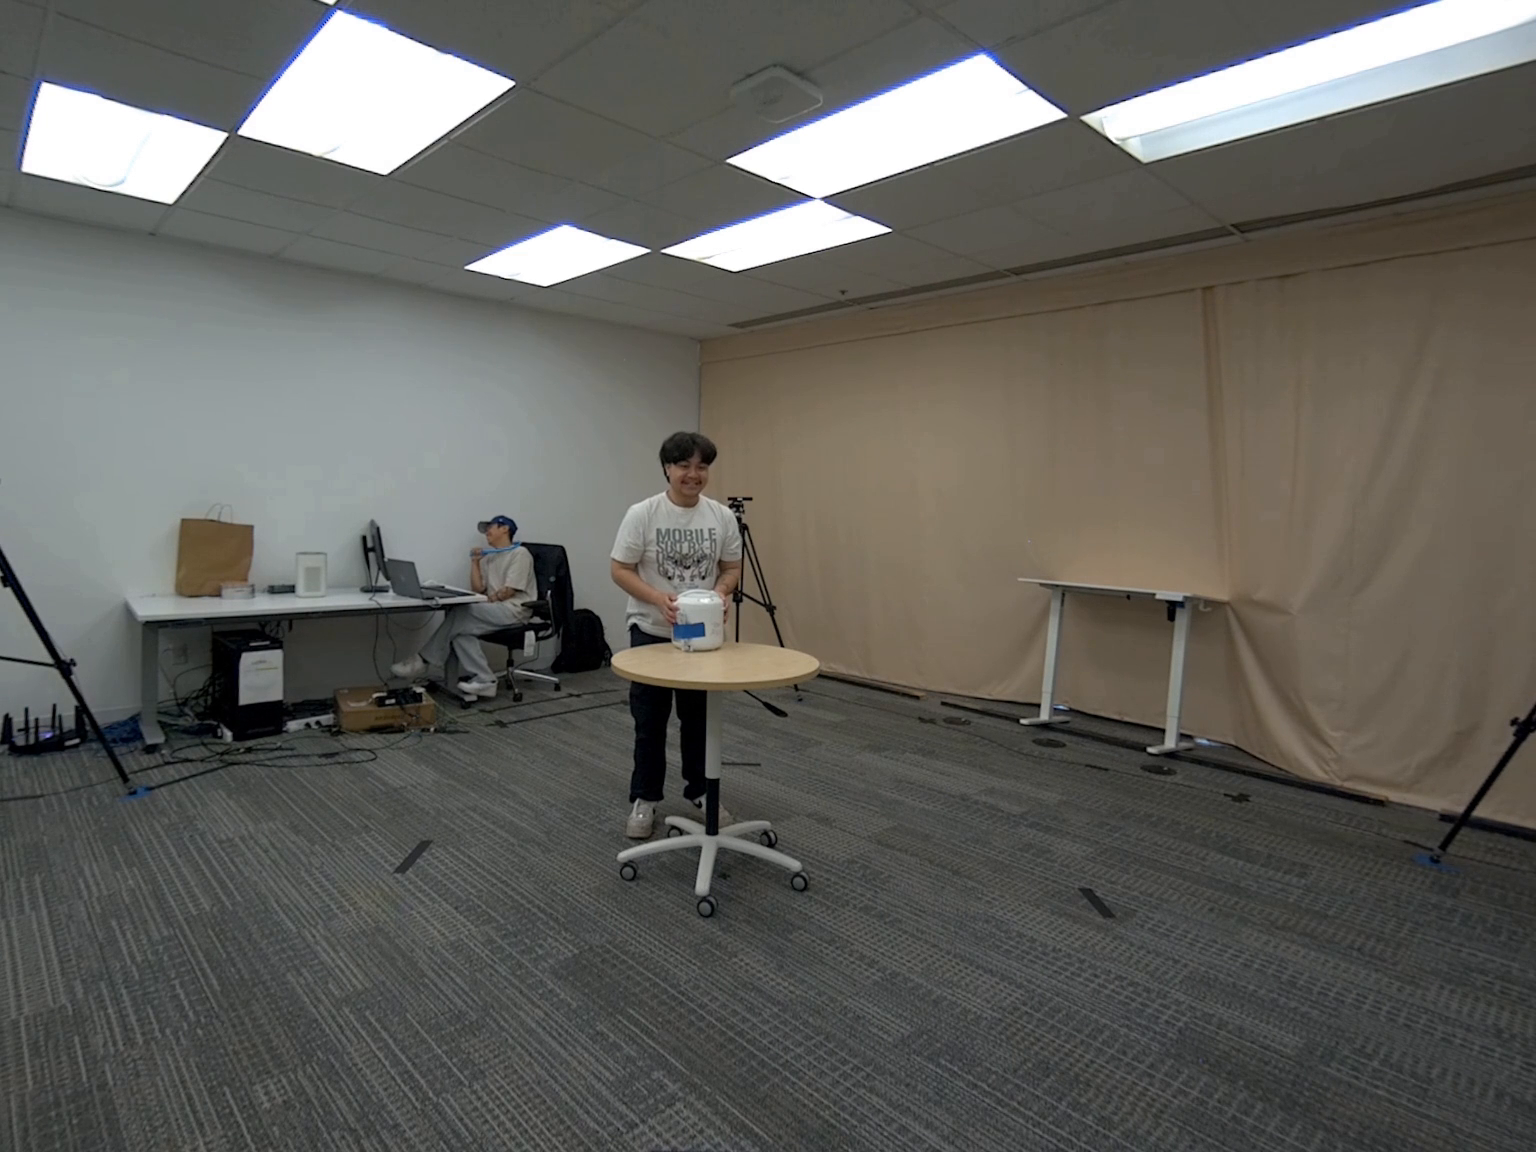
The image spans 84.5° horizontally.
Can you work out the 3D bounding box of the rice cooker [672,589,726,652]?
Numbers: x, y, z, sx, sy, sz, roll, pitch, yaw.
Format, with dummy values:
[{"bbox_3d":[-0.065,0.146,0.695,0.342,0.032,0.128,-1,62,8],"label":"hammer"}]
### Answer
[{"bbox_3d":[-0.292,0.170,3.338,0.217,0.232,0.221,1,5,-22],"label":"rice cooker"}]
